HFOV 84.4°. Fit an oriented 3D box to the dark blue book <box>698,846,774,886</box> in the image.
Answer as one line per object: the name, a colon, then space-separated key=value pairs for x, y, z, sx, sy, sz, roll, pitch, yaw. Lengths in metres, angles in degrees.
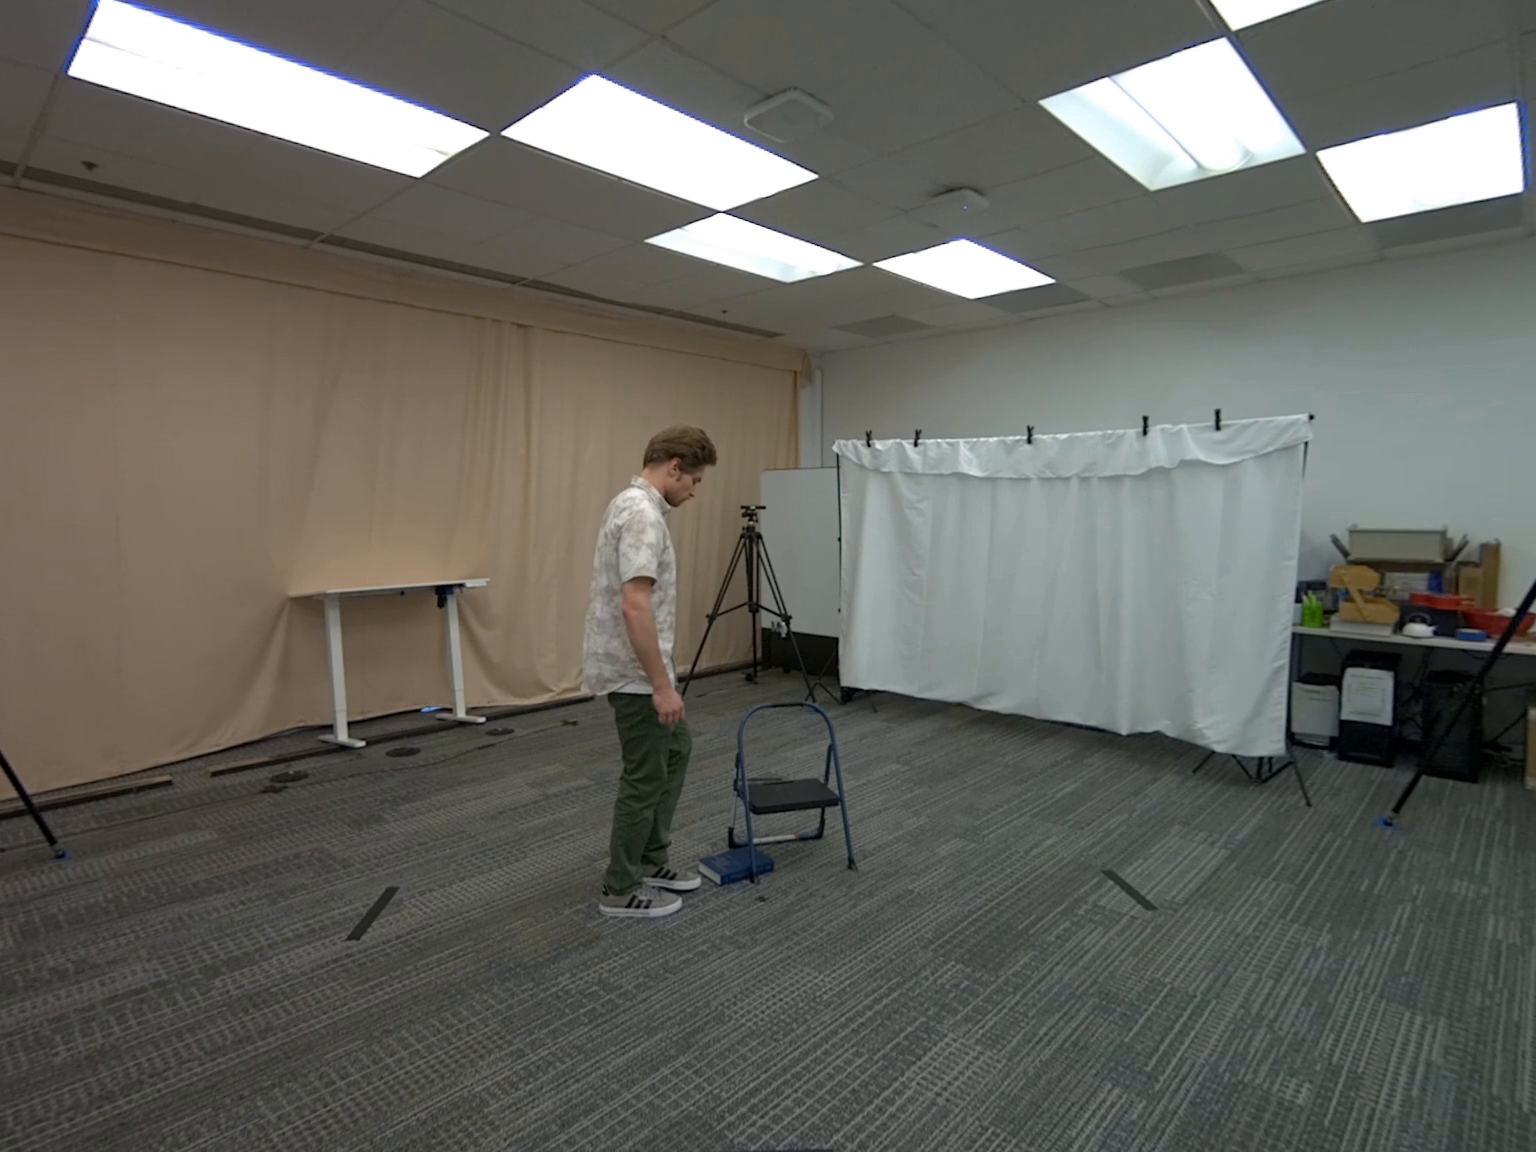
dark blue book: x=-0.122 y=1.106 z=3.206 sx=0.238 sy=0.045 sz=0.168 roll=-4 pitch=6 yaw=-34
